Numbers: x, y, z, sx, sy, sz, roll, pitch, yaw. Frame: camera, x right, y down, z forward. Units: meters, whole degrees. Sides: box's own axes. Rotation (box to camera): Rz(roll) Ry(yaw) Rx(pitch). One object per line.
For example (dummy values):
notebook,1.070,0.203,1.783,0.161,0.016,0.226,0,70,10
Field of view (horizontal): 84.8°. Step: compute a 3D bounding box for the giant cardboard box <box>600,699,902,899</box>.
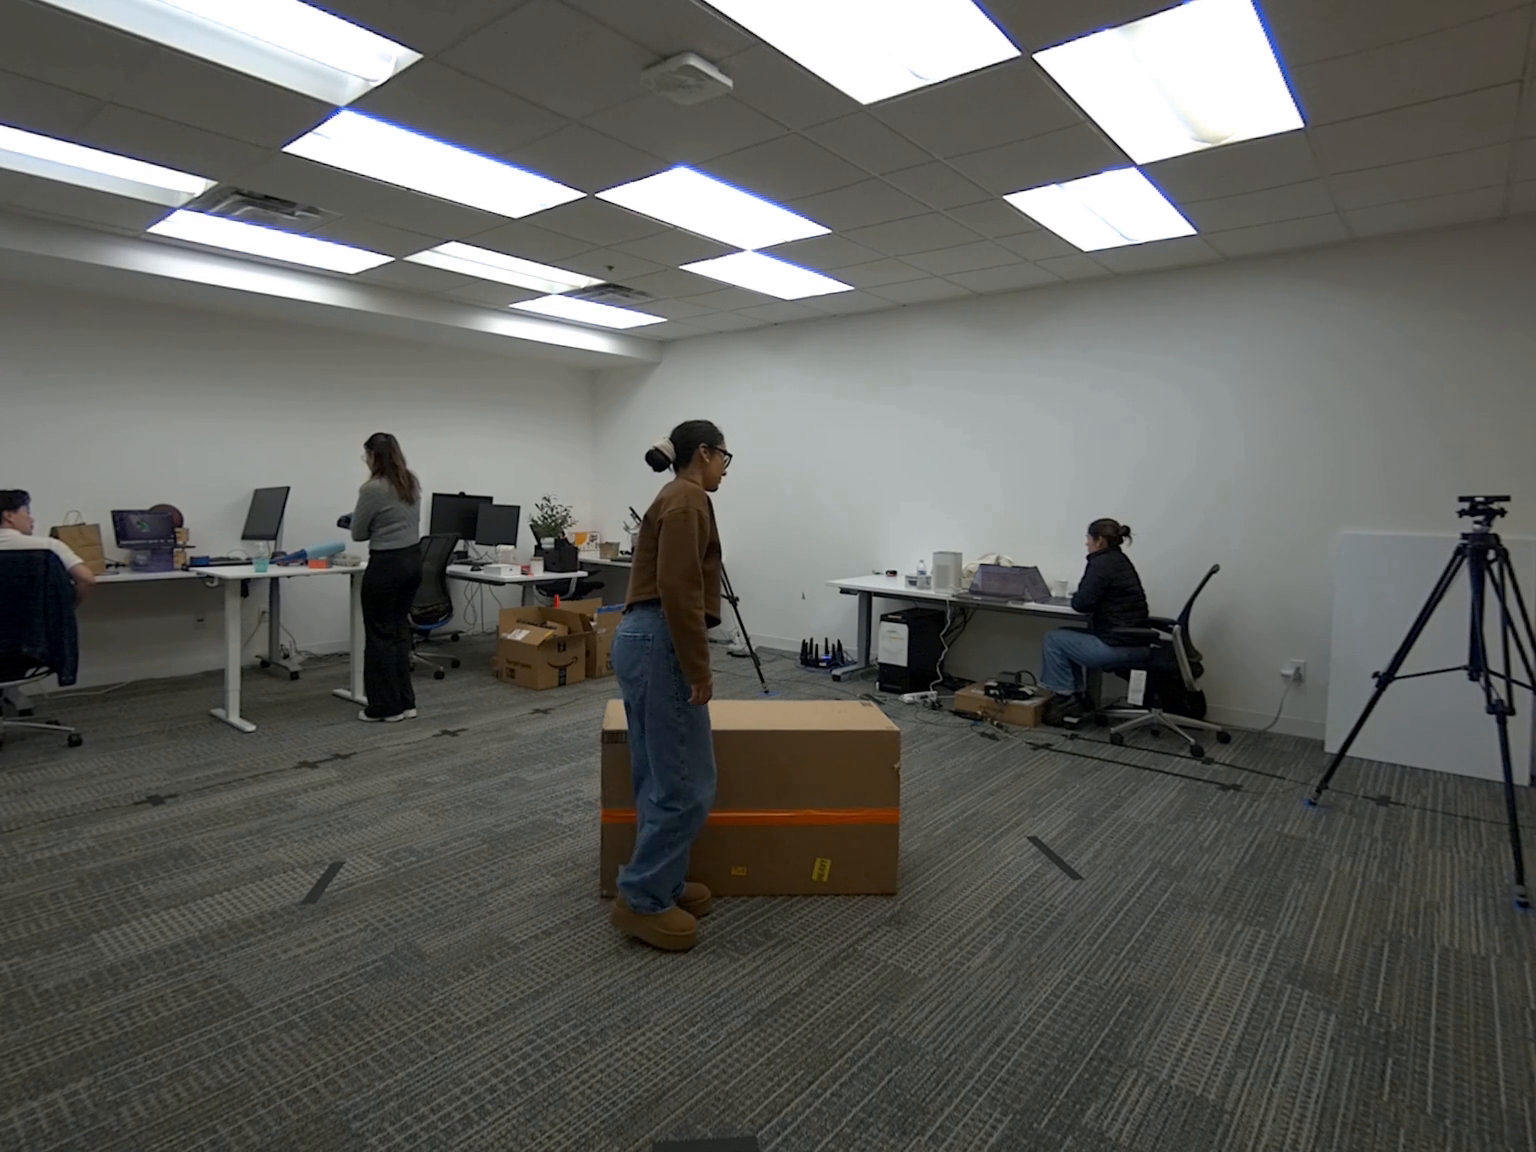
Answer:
giant cardboard box,-0.085,0.781,3.092,1.023,0.583,0.450,0,3,-4
